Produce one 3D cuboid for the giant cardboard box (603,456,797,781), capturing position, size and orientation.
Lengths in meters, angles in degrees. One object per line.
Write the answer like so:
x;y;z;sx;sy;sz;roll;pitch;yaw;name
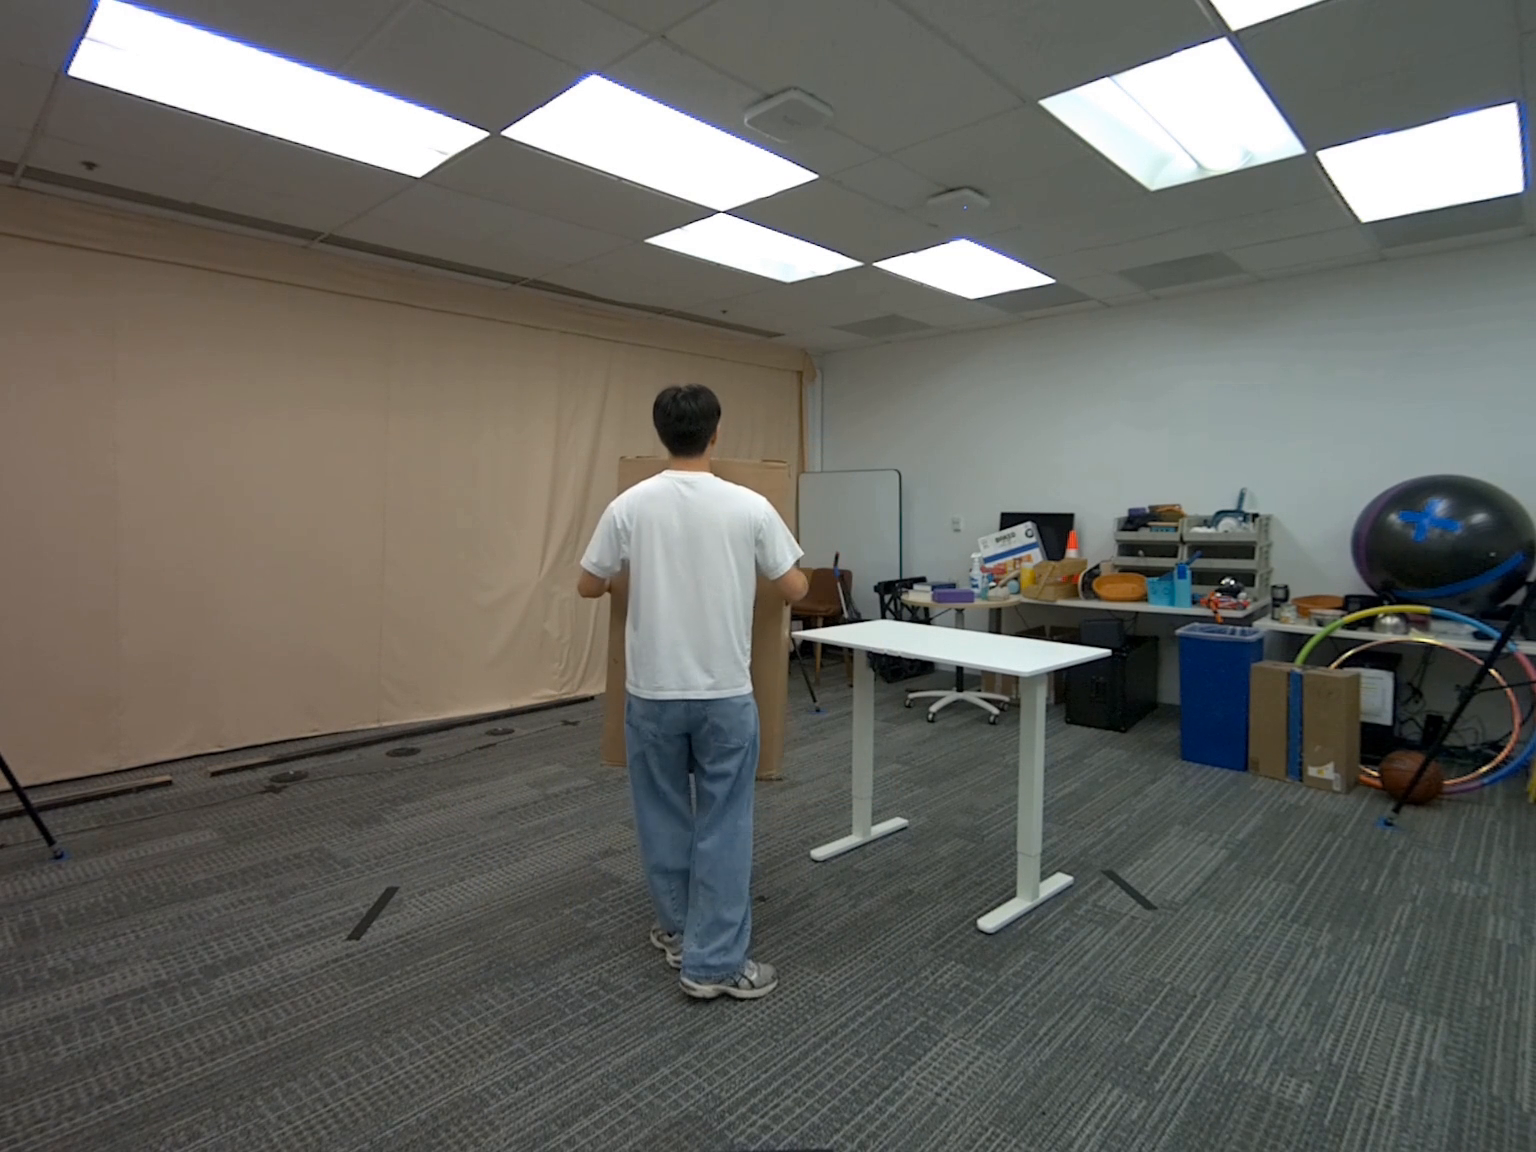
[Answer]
-0.219;0.129;2.937;0.582;1.028;0.422;2;-4;6;giant cardboard box
